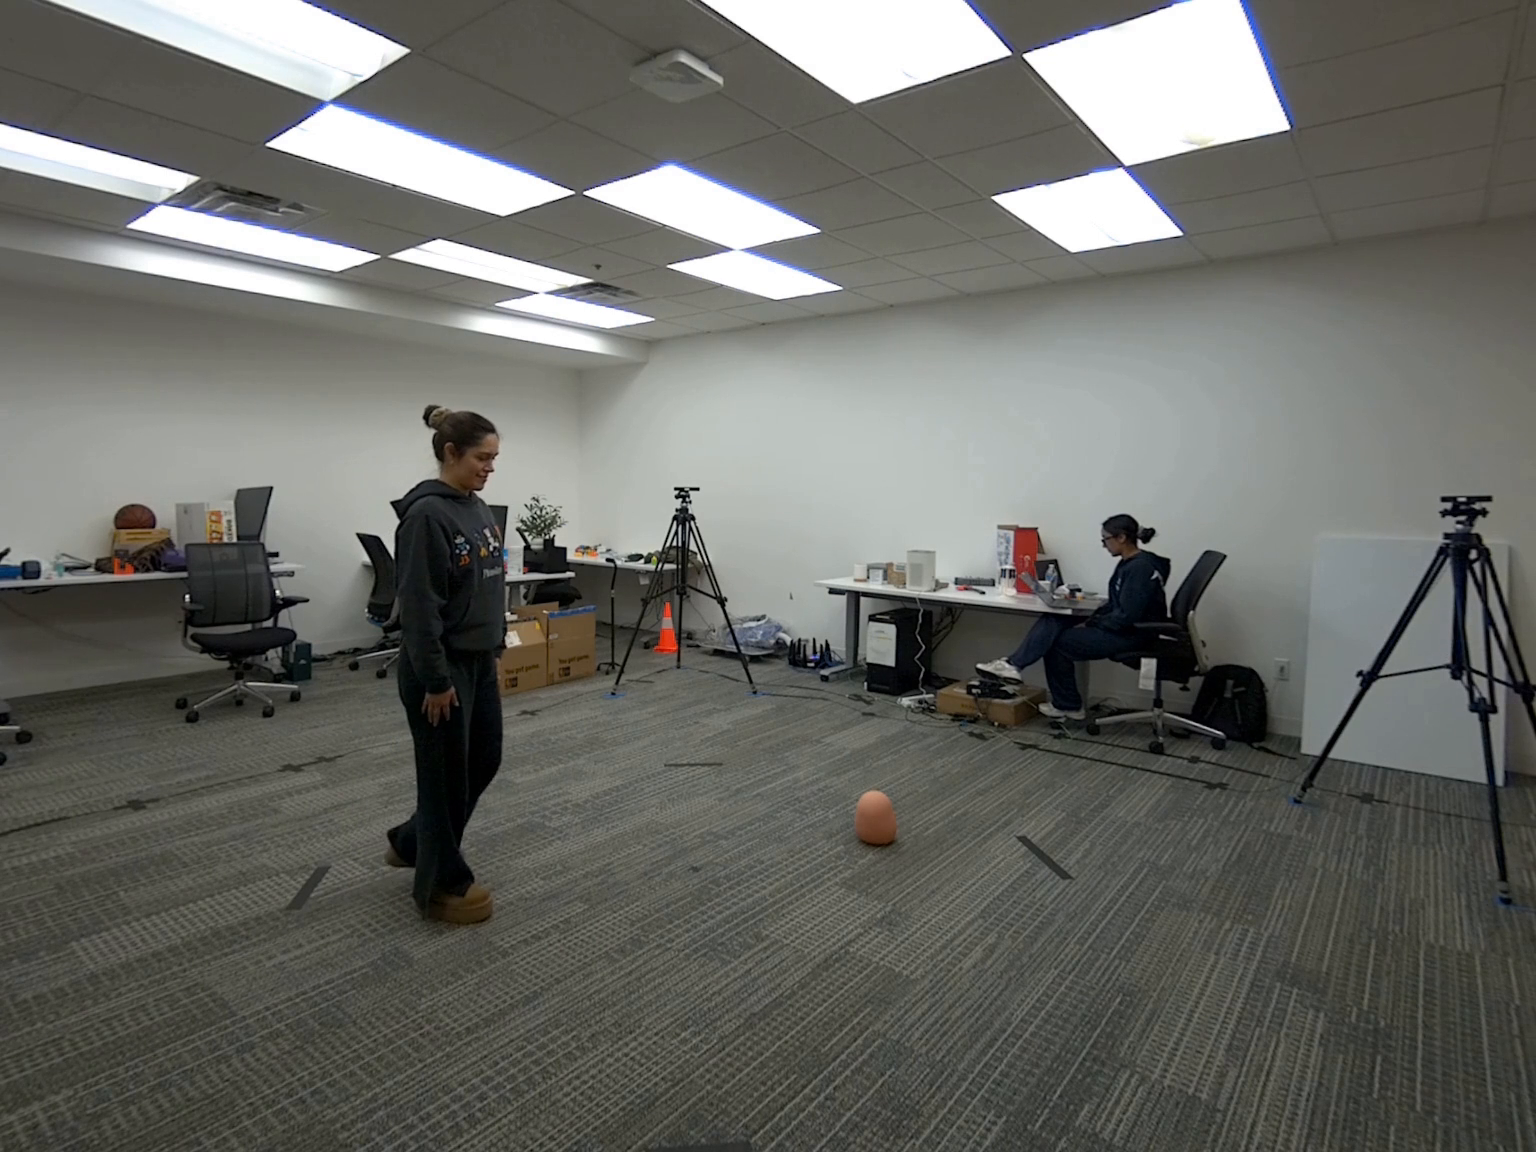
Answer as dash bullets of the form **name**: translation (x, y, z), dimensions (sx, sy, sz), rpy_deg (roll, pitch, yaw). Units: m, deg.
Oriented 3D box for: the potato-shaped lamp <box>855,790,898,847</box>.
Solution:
- **potato-shaped lamp**: translation (0.430, 0.952, 3.391), dimensions (0.170, 0.197, 0.166), rpy_deg (7, 7, 39)
